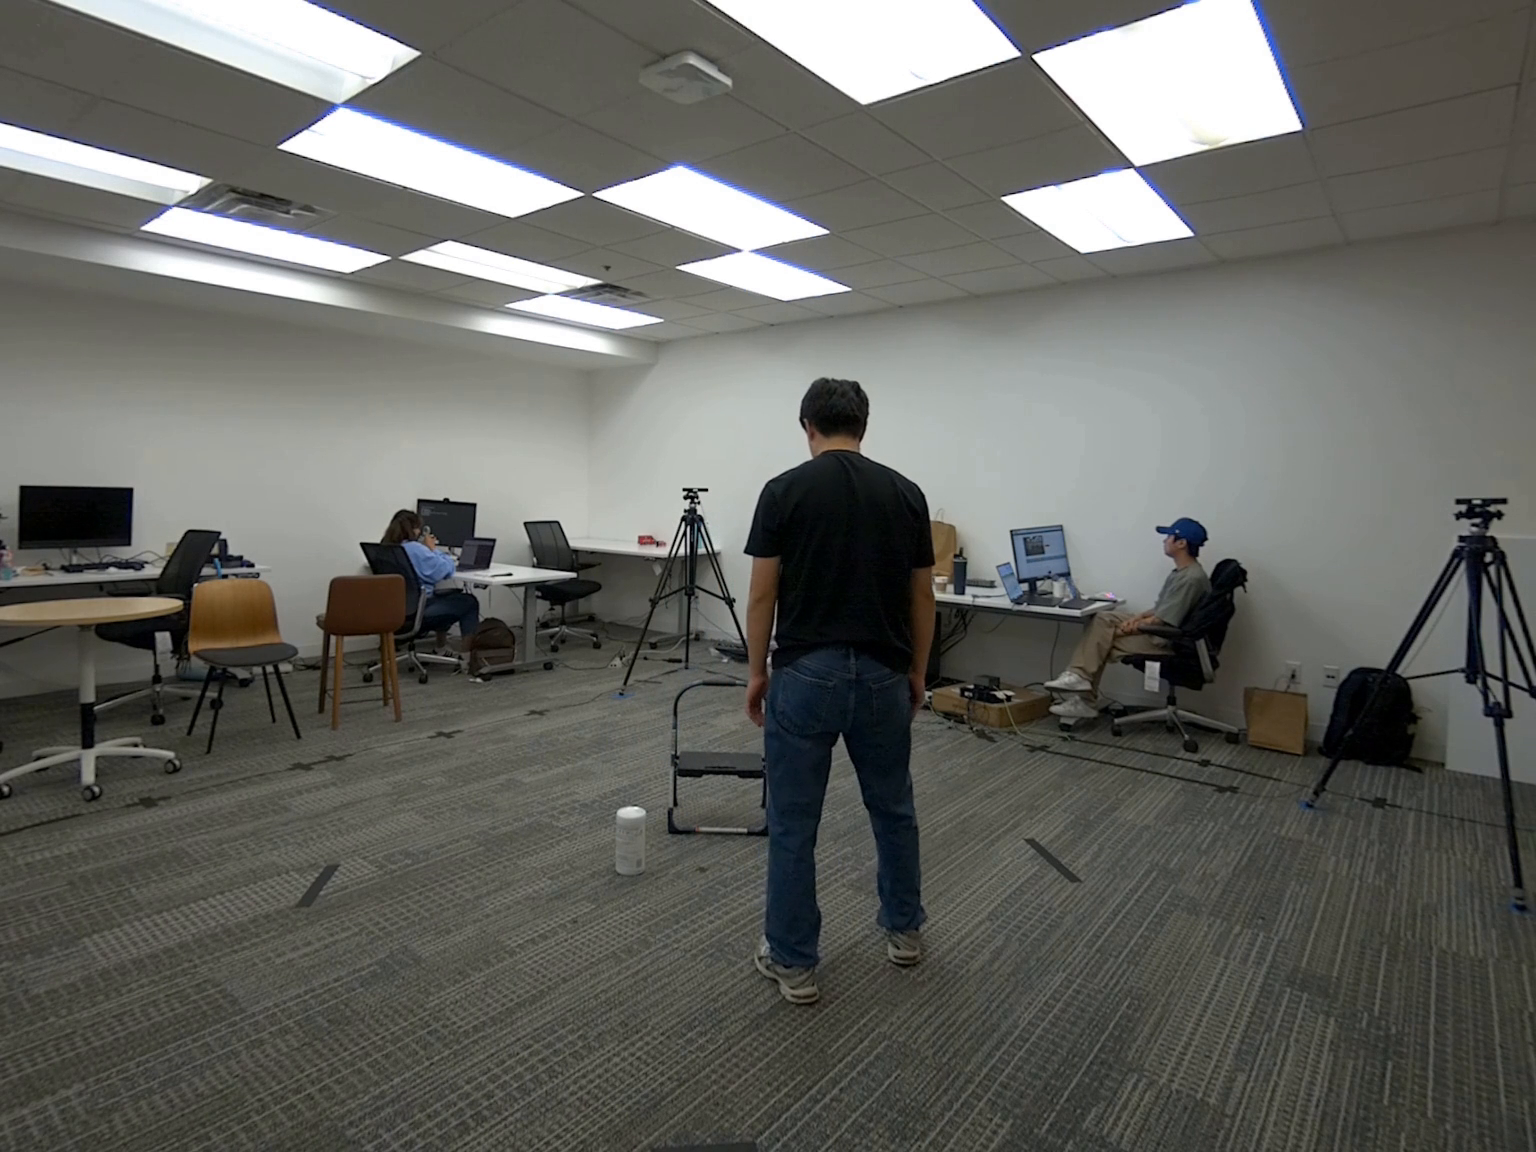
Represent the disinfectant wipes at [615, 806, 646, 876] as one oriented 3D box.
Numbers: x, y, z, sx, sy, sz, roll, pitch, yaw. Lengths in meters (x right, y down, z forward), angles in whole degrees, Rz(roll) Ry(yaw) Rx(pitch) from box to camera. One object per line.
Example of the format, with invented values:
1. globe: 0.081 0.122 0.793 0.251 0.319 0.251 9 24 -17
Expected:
1. disinfectant wipes: -0.505 0.959 3.091 0.117 0.217 0.118 2 2 -2
